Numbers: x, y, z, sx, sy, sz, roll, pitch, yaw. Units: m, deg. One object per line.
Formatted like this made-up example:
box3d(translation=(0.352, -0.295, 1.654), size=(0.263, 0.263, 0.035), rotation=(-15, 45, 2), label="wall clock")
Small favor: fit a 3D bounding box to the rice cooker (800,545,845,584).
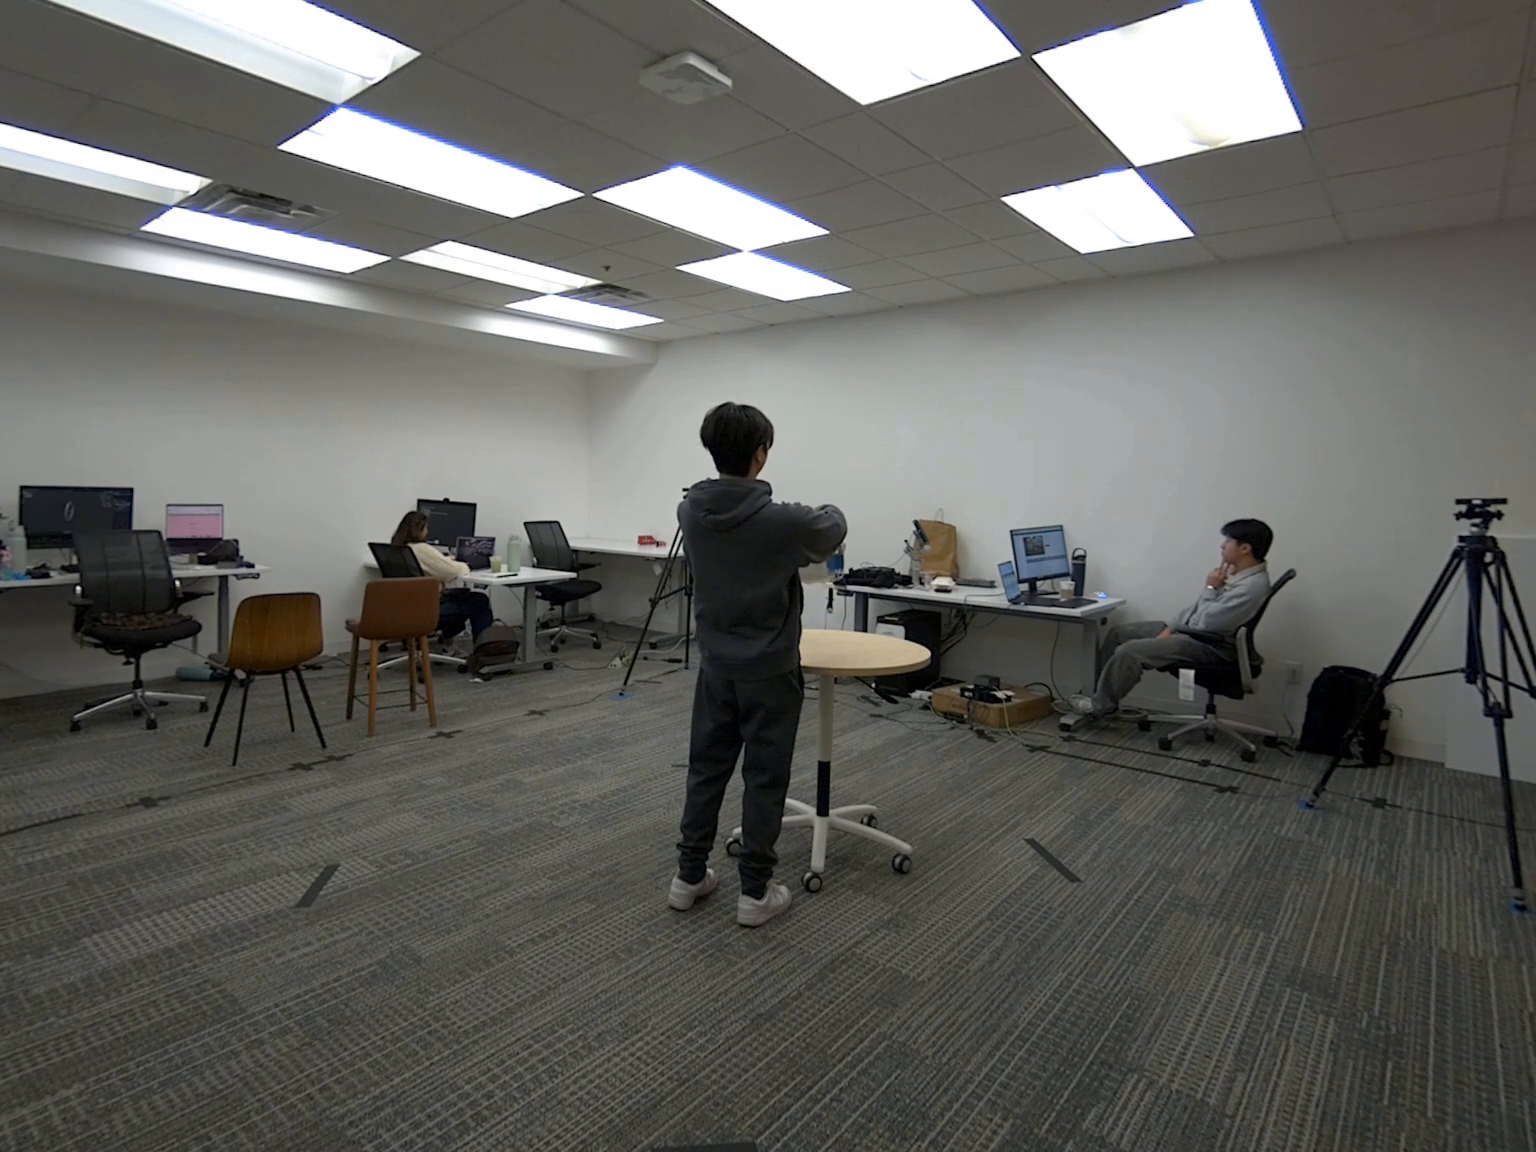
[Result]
box3d(translation=(0.145, -0.095, 3.189), size=(0.211, 0.232, 0.228), rotation=(-1, 4, -40), label="rice cooker")
